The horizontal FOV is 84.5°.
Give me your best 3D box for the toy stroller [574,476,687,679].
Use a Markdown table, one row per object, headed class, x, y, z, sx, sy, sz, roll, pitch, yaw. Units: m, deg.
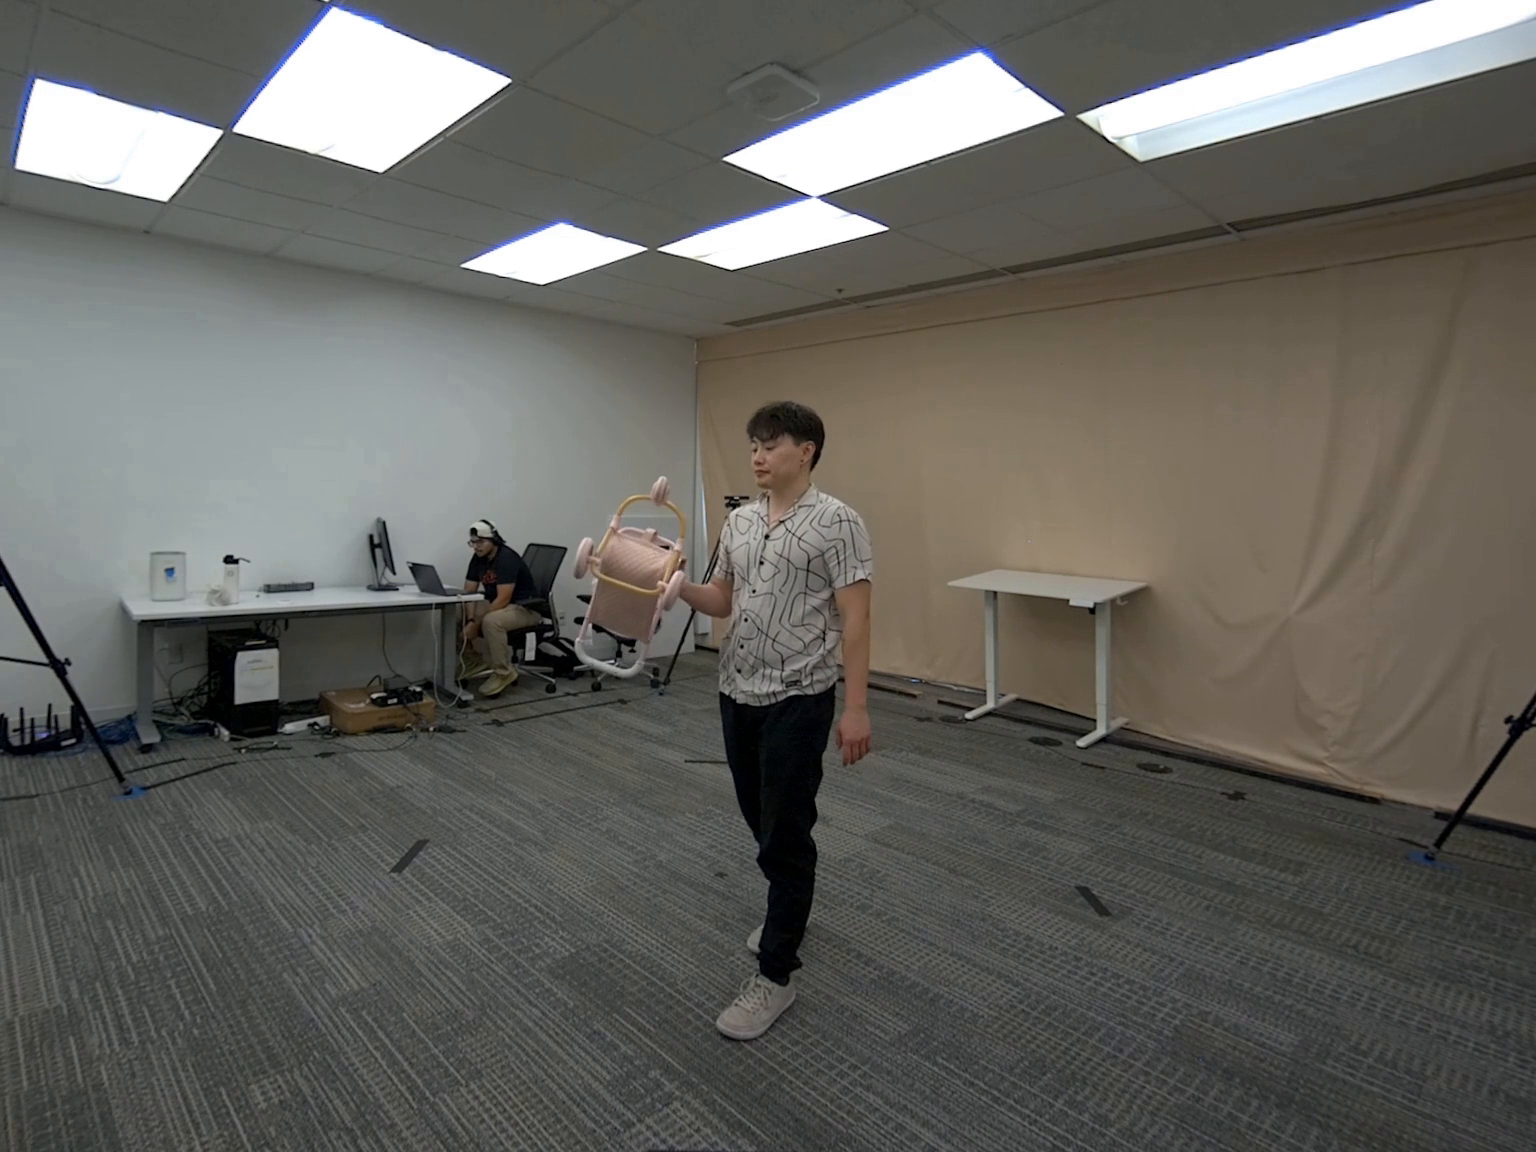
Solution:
| class | x | y | z | sx | sy | sz | roll | pitch | yaw |
| --- | --- | --- | --- | --- | --- | --- | --- | --- | --- |
| toy stroller | -0.375 | 0.002 | 2.360 | 0.280 | 0.347 | 0.528 | 15 | -39 | -4 |
